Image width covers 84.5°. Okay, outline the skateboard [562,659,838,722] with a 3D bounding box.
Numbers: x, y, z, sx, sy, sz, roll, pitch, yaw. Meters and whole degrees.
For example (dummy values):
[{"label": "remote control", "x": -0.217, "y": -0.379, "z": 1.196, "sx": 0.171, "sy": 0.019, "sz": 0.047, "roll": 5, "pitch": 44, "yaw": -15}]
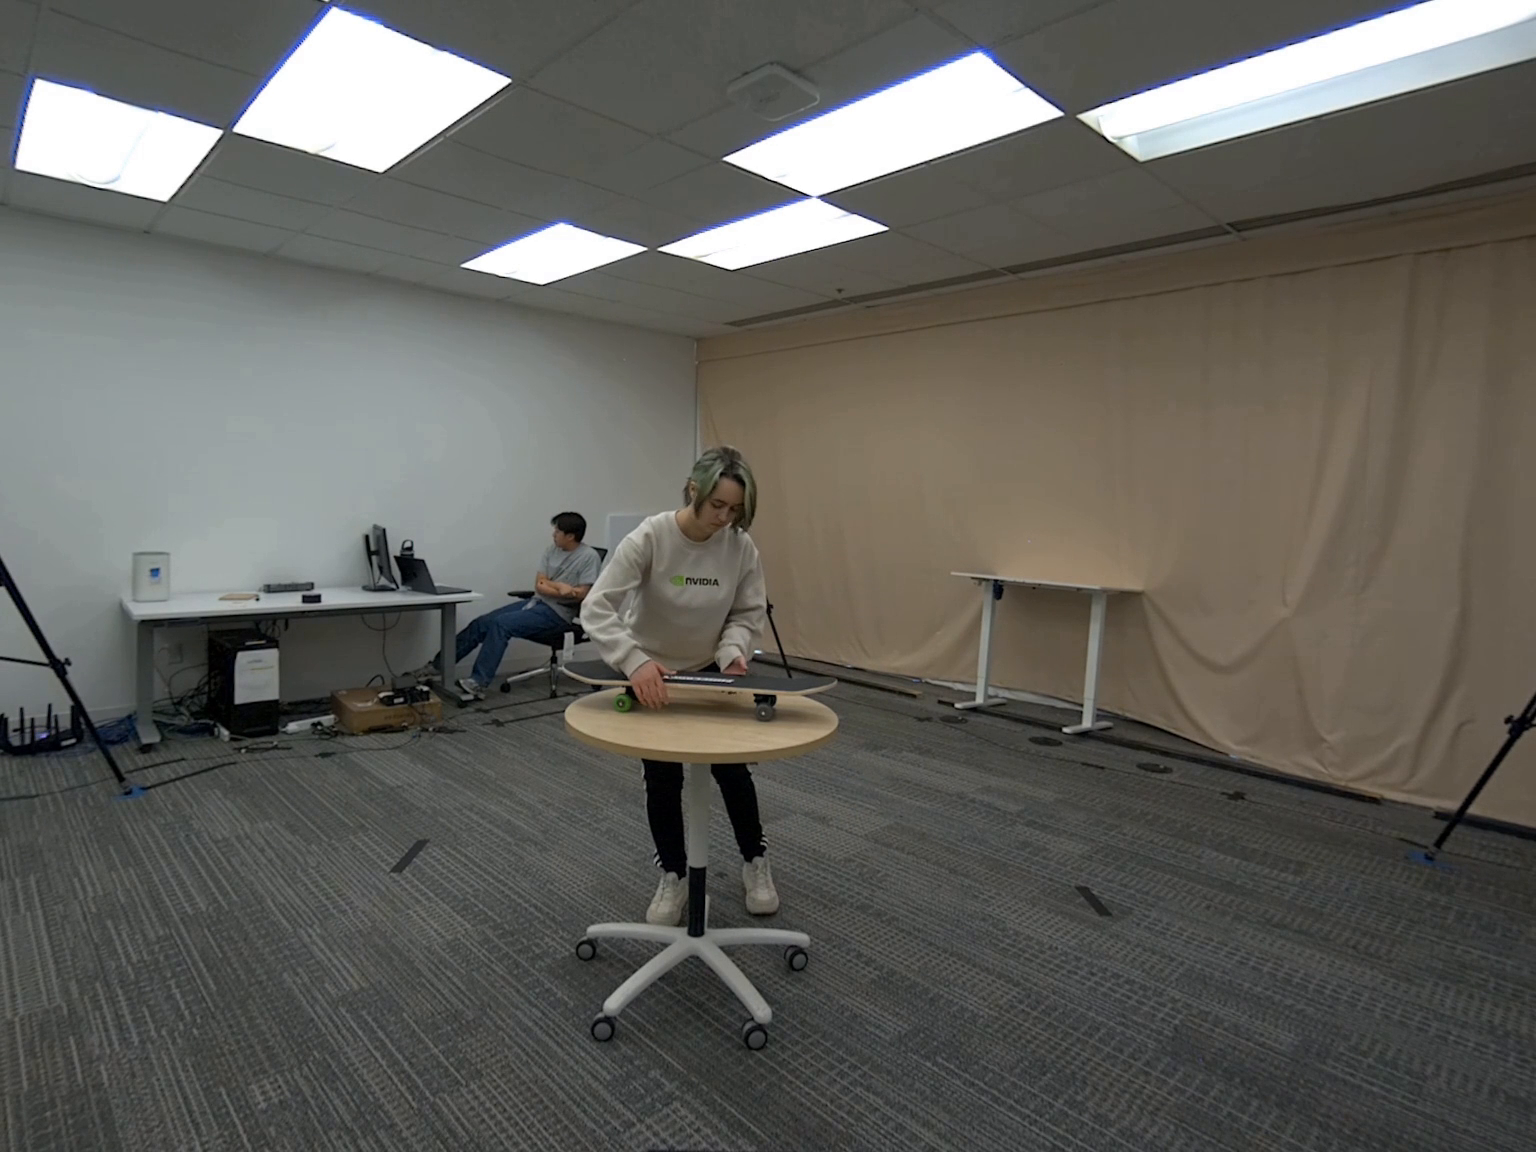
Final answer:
[{"label": "skateboard", "x": -0.207, "y": 0.331, "z": 2.404, "sx": 0.790, "sy": 0.110, "sz": 0.193, "roll": 2, "pitch": 3, "yaw": 7}]
